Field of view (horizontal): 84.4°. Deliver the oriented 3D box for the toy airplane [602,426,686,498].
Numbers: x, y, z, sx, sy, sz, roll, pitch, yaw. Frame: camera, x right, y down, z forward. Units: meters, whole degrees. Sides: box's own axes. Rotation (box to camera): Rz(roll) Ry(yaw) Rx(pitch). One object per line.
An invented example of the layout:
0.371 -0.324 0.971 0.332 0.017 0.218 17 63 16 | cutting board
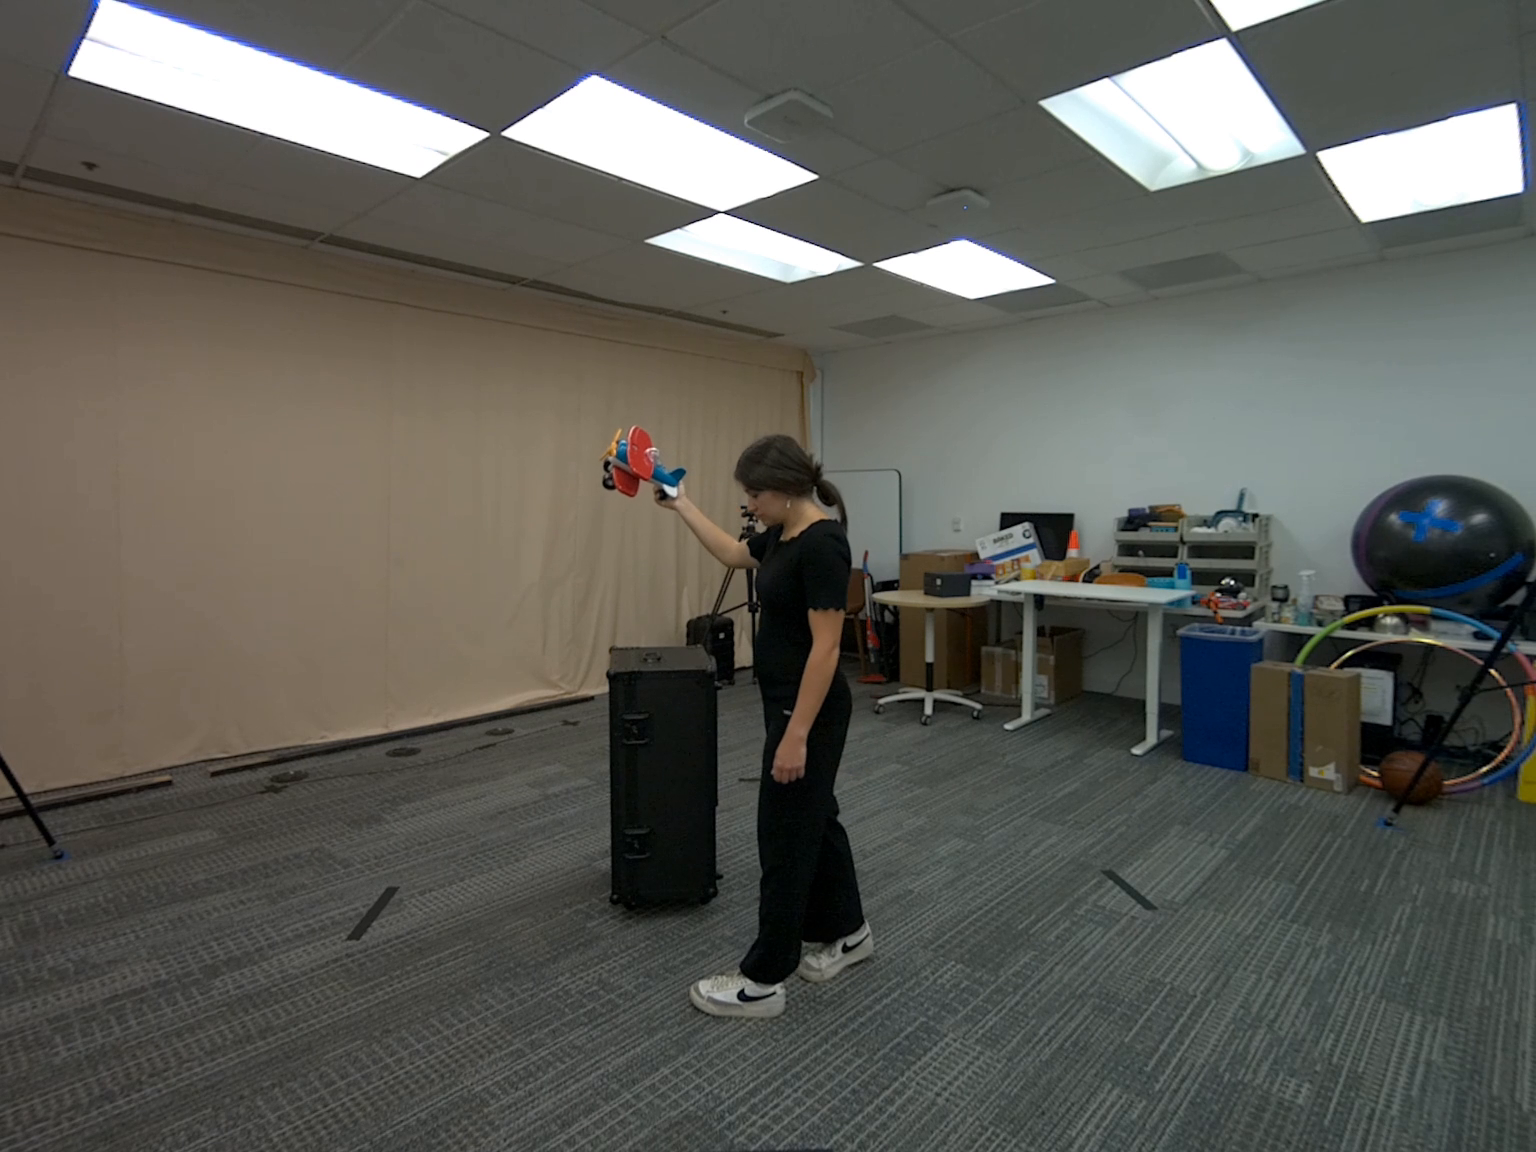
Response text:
-0.394 -0.348 2.664 0.251 0.156 0.258 -6 50 -40 | toy airplane
